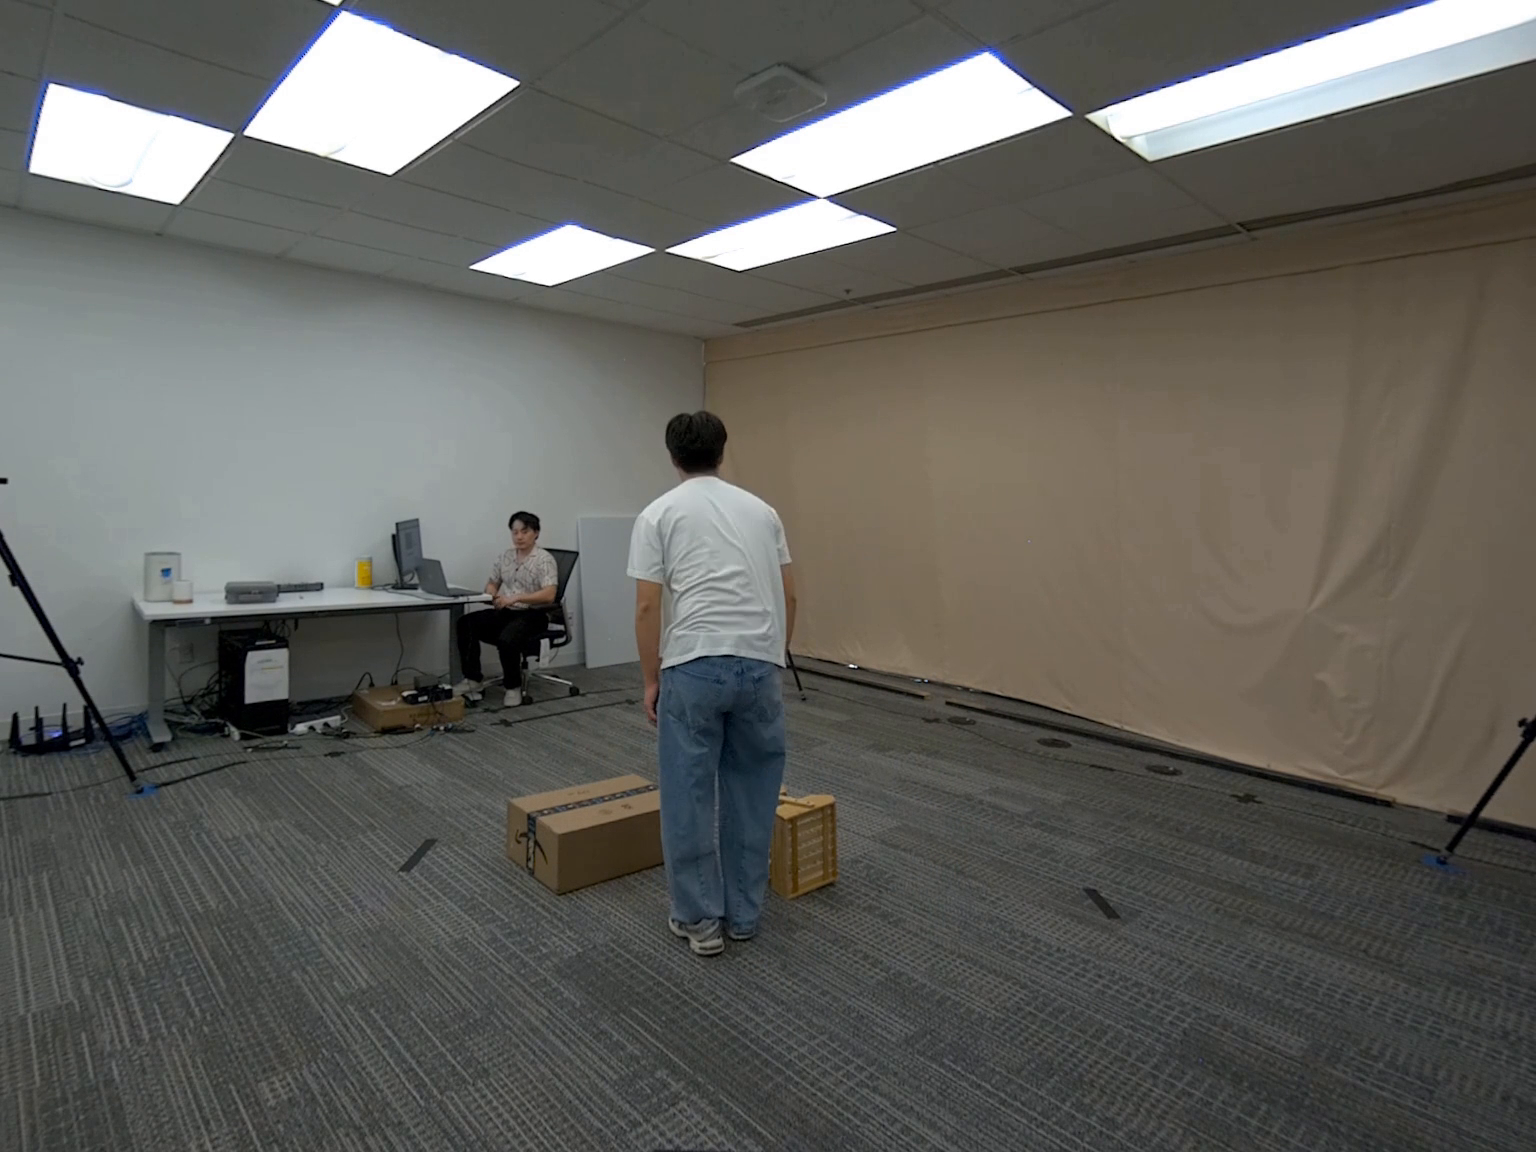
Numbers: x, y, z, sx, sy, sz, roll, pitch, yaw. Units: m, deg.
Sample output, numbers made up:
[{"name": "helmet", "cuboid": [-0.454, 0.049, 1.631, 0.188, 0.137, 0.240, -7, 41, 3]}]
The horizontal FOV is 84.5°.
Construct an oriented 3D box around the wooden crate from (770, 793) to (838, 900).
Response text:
[{"name": "wooden crate", "cuboid": [0.055, 0.949, 3.058, 0.296, 0.322, 0.281, -8, 12, -36]}]
